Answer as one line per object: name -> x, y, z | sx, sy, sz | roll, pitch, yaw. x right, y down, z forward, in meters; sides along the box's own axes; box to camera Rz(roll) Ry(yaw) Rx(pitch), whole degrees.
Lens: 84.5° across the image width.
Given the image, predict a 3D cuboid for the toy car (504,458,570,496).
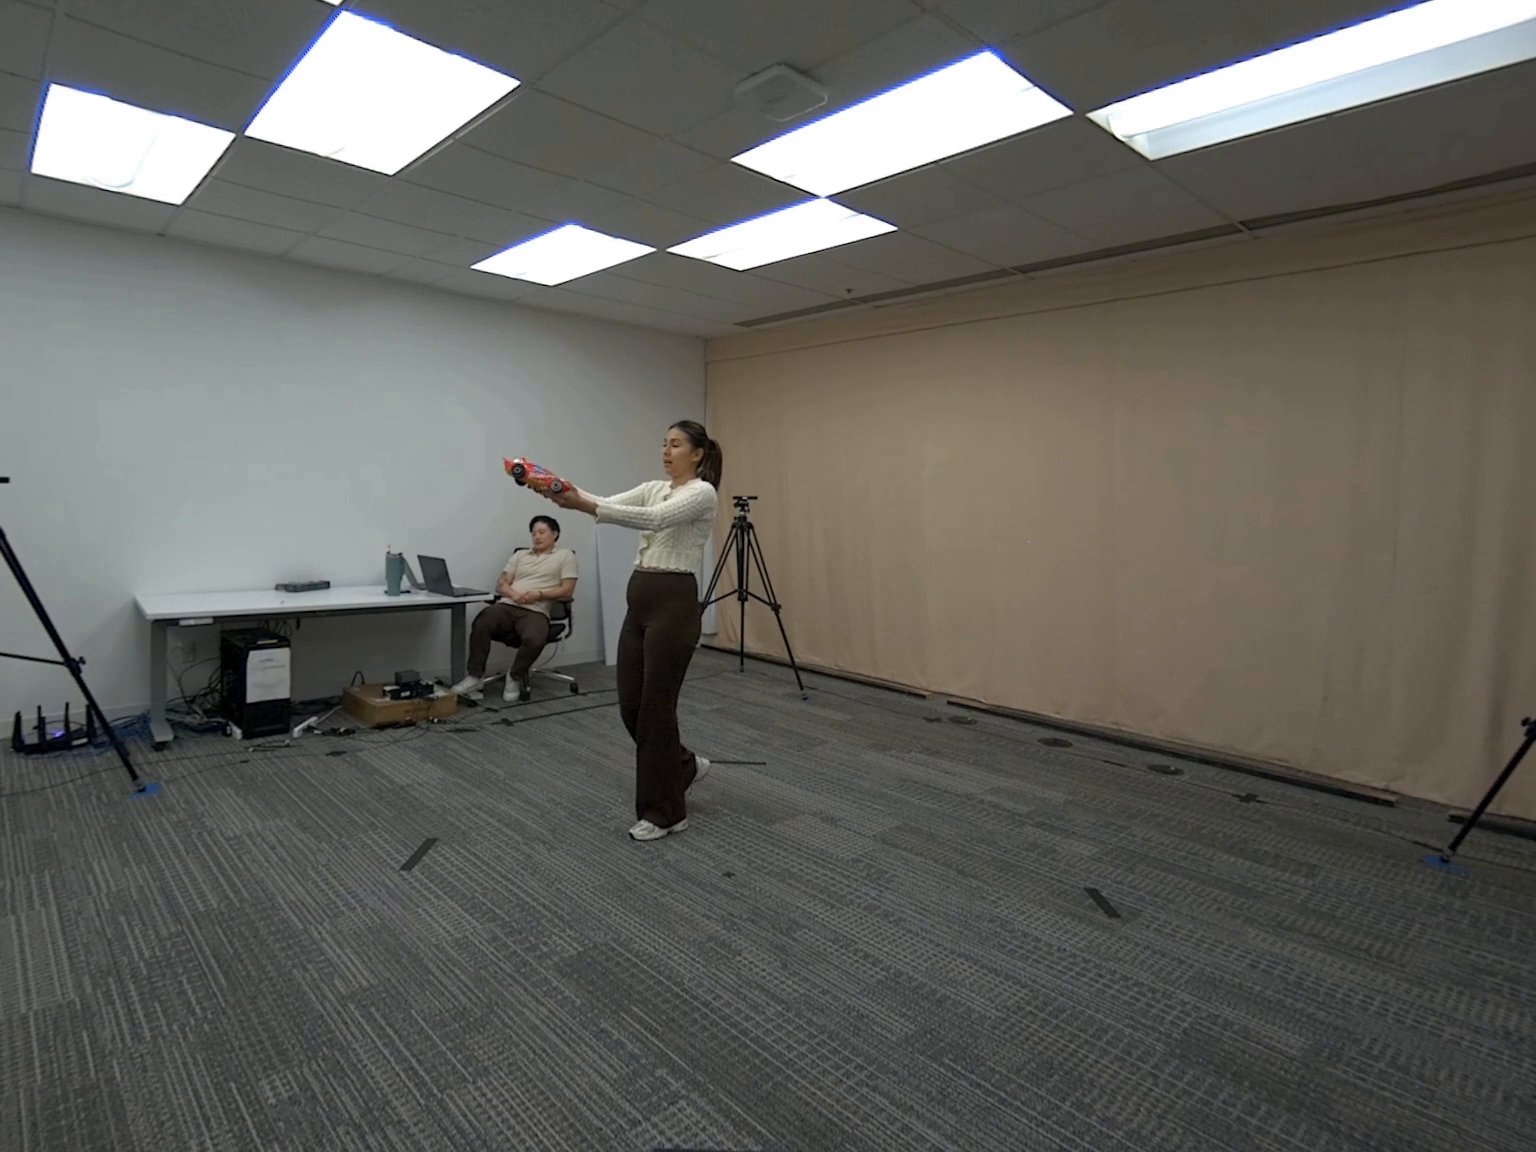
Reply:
toy car -> -0.842, -0.351, 3.033 | 0.255, 0.083, 0.130 | 31, -13, 0
